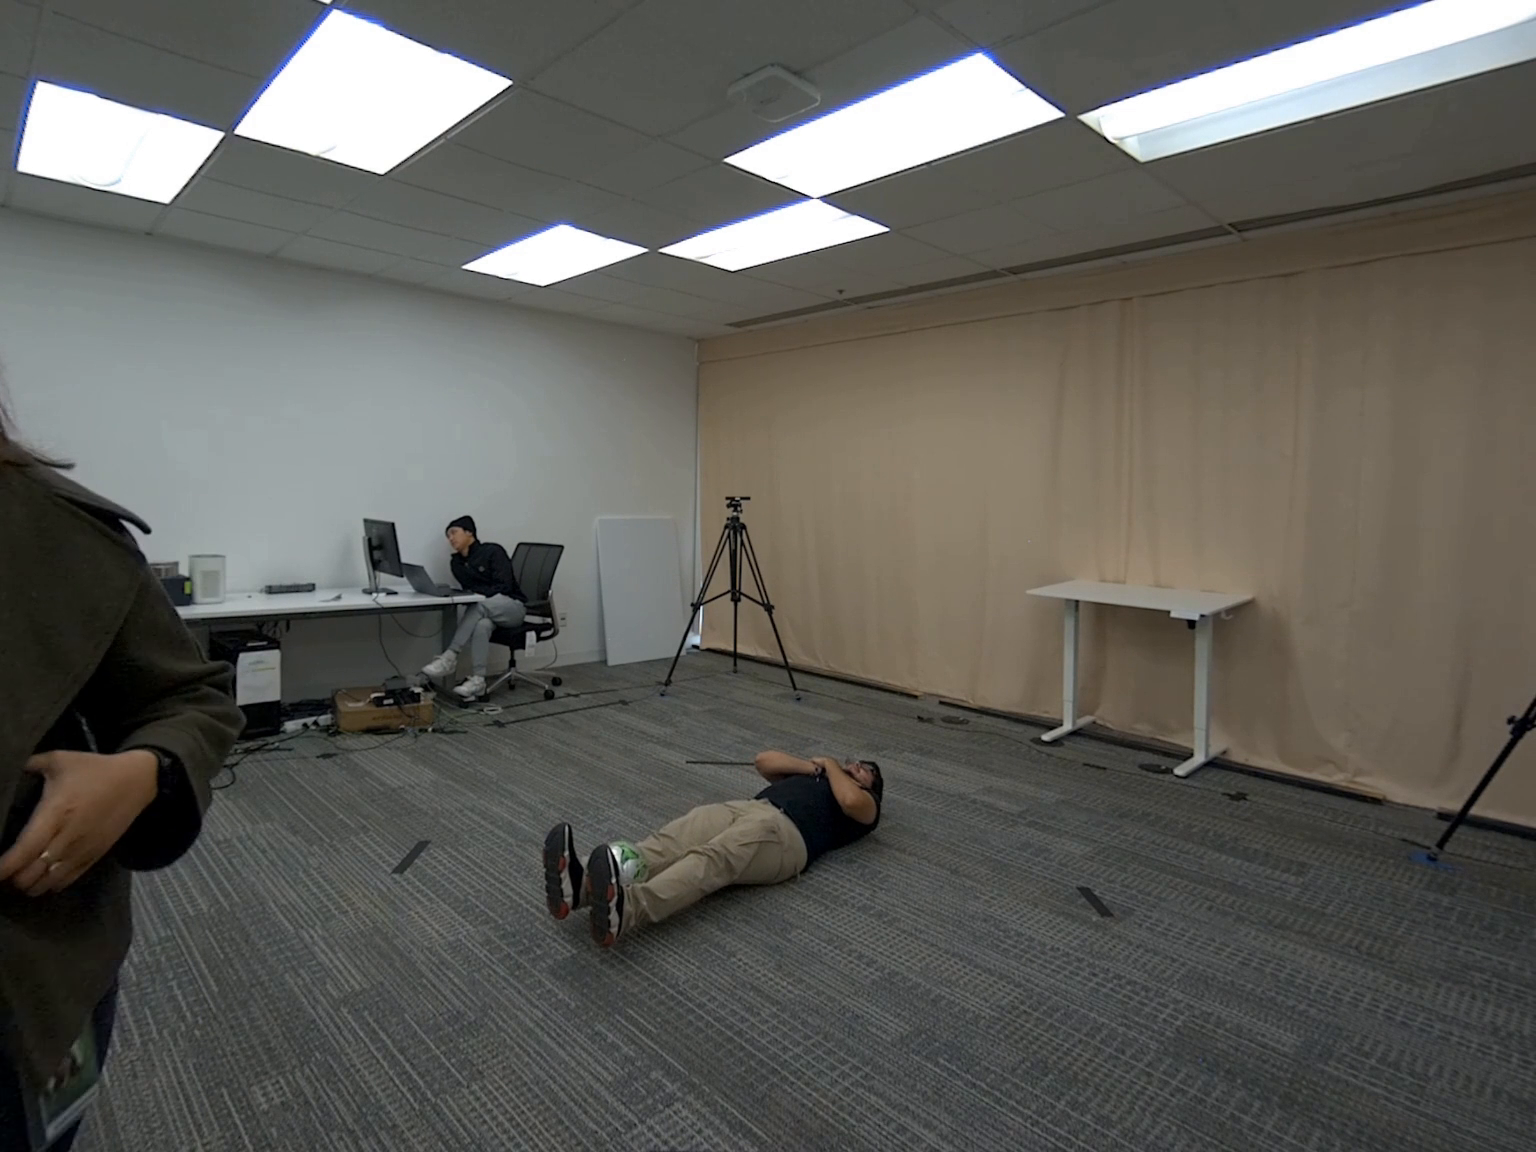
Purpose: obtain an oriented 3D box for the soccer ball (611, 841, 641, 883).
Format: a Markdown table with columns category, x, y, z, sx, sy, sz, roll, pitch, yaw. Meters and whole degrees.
| category | x | y | z | sx | sy | sz | roll | pitch | yaw |
| --- | --- | --- | --- | --- | --- | --- | --- | --- | --- |
| soccer ball | -0.489 | 0.958 | 2.697 | 0.187 | 0.187 | 0.188 | 1 | 5 | -1 |
